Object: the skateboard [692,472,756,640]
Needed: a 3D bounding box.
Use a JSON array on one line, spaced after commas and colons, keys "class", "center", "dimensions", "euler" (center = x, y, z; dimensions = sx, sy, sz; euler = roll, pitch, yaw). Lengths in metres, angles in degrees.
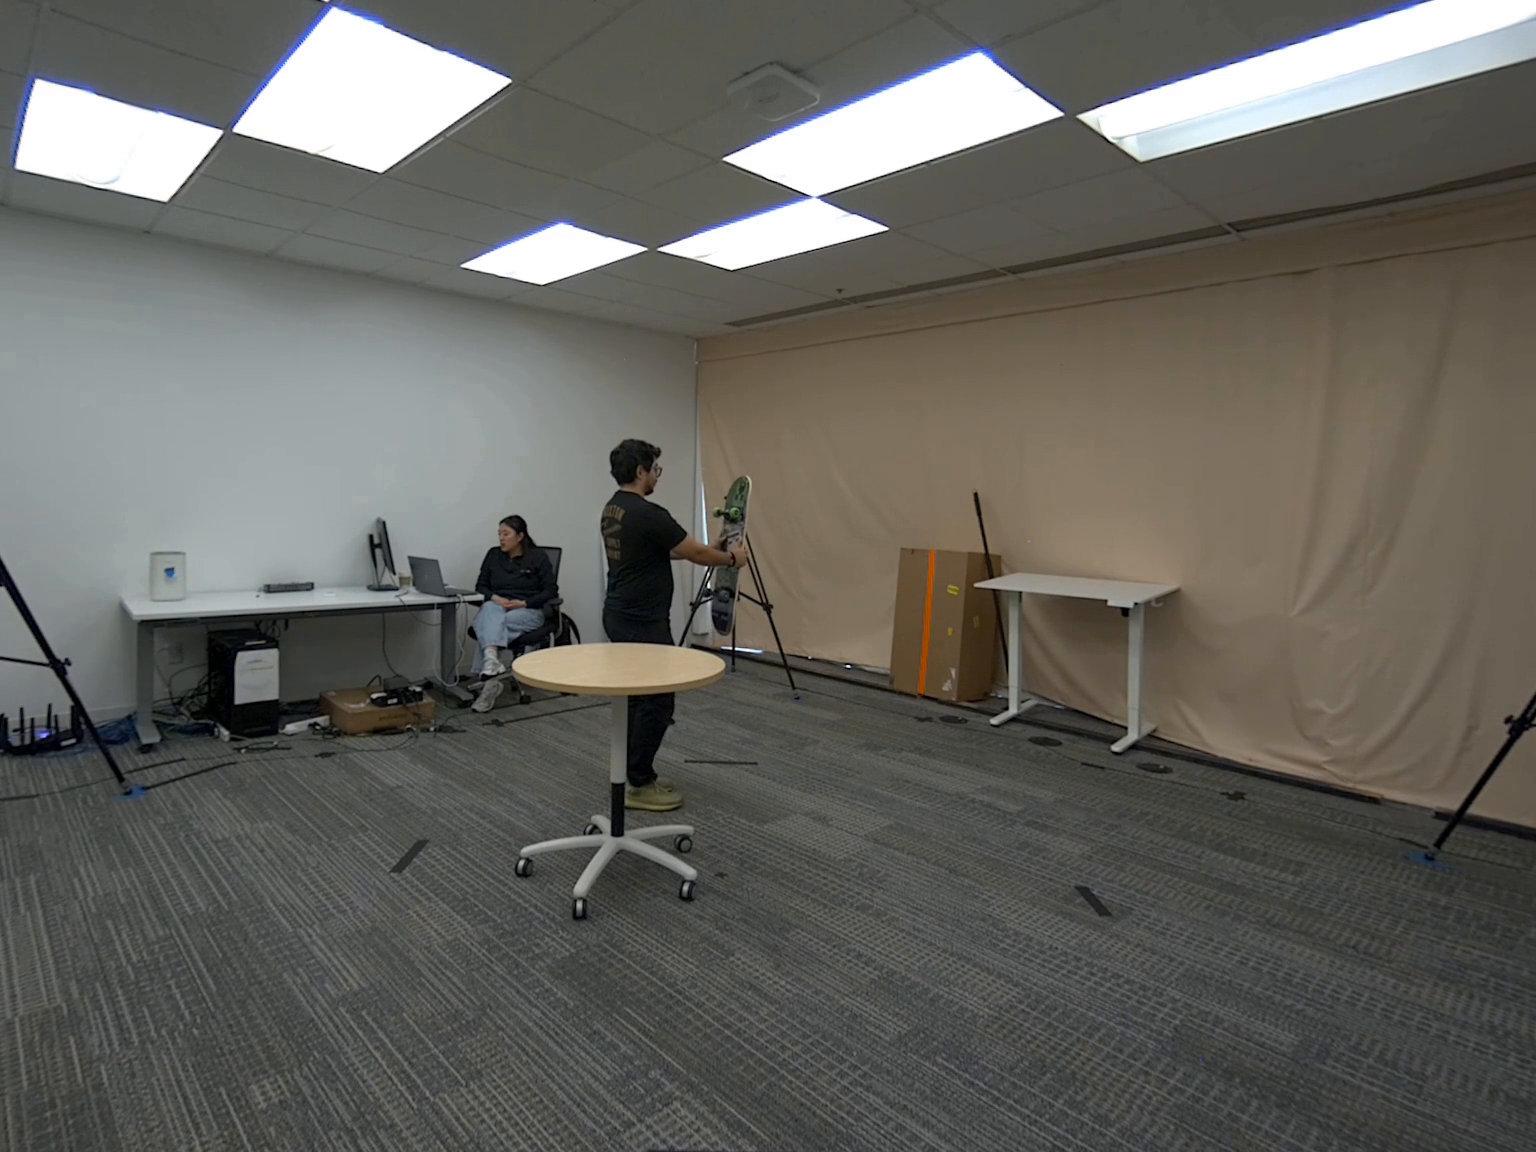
[{"class": "skateboard", "center": [-0.217, -0.103, 4.103], "dimensions": [0.107, 0.786, 0.198], "euler": [9, -3, -36]}]
